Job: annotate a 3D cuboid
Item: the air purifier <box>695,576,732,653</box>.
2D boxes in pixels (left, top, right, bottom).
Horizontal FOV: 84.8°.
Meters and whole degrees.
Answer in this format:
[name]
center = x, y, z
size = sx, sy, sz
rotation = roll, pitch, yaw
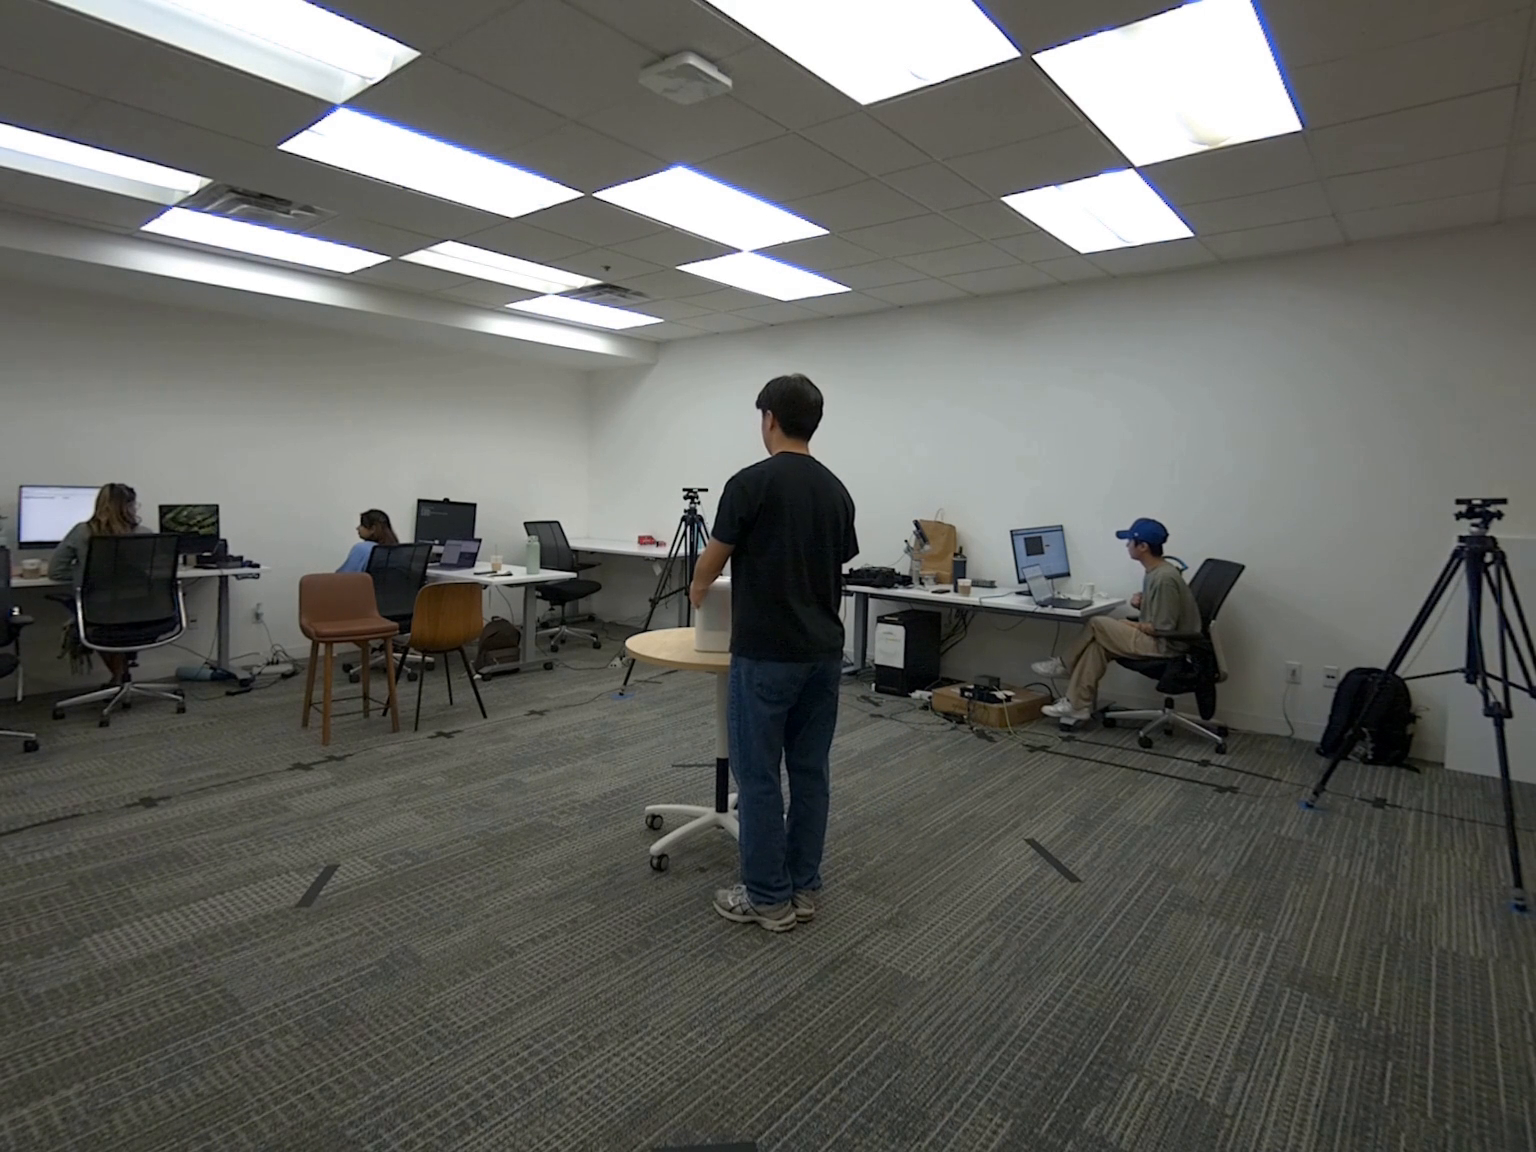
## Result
[air purifier]
center = -0.197, 0.138, 3.169
size = 0.172, 0.264, 0.171
rotation = -1, 5, 3
